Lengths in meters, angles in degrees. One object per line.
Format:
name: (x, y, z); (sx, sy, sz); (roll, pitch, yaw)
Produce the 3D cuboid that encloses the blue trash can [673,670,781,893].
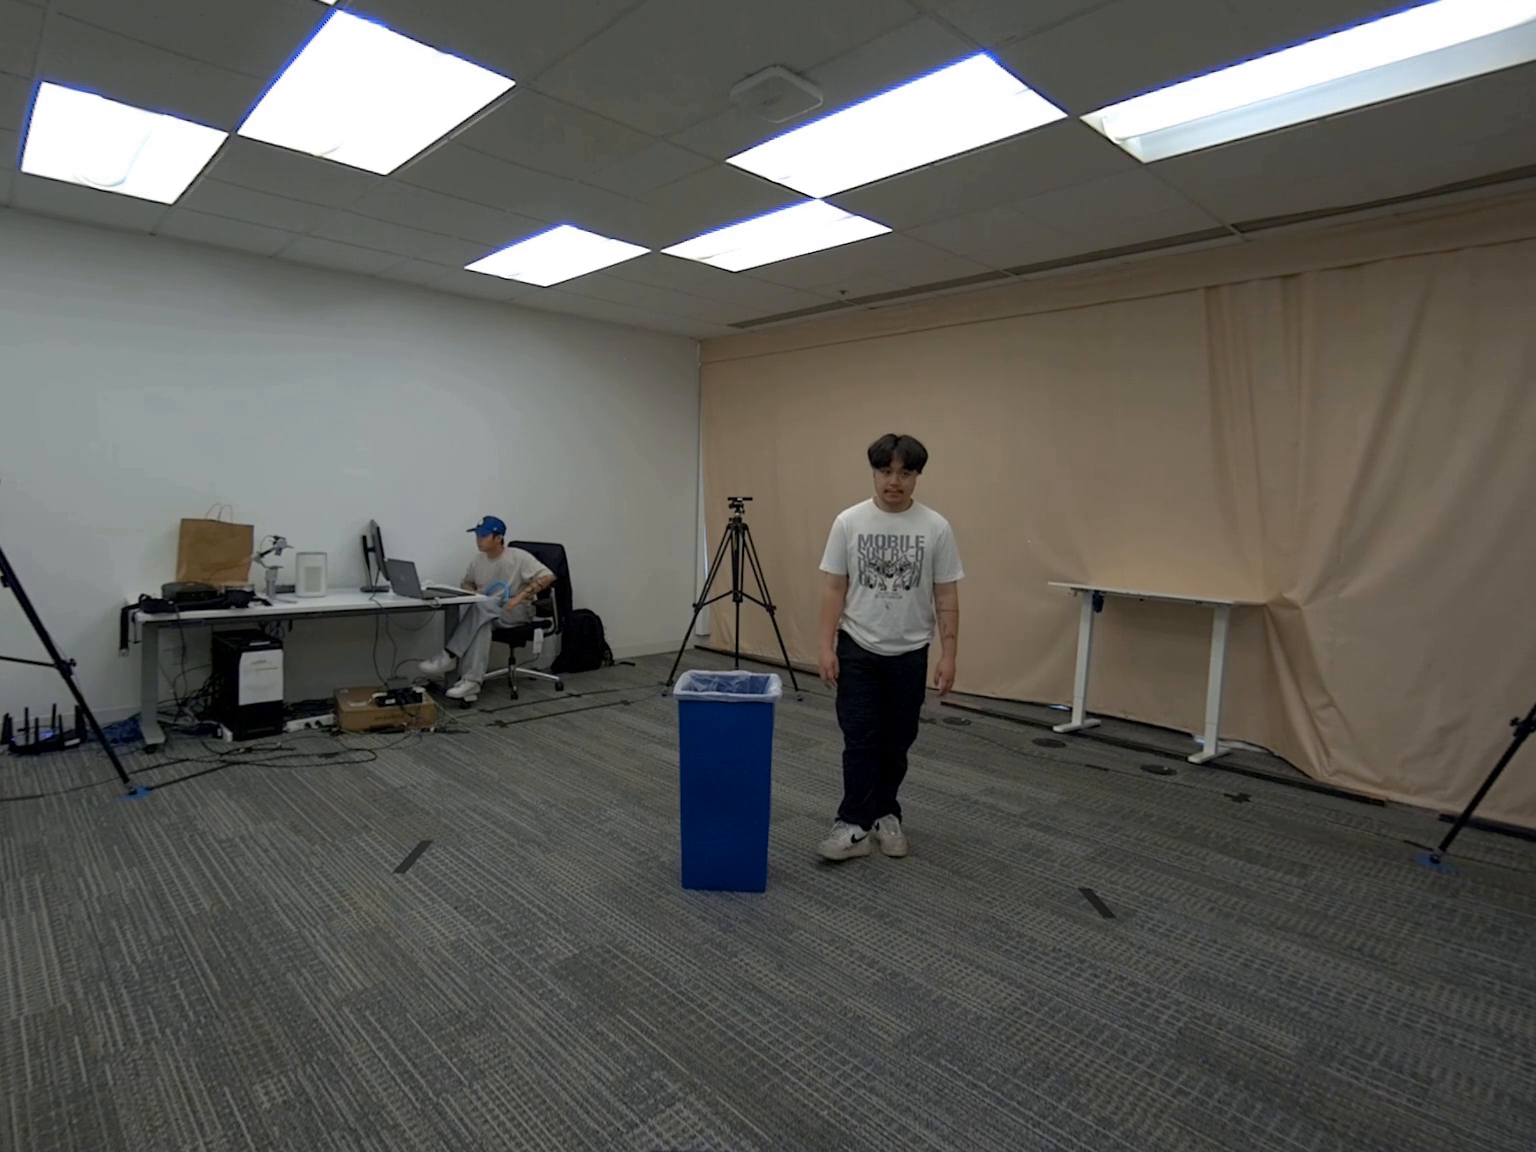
blue trash can: (-0.162, 0.750, 3.114); (0.375, 0.712, 0.378); (2, 3, 3)
